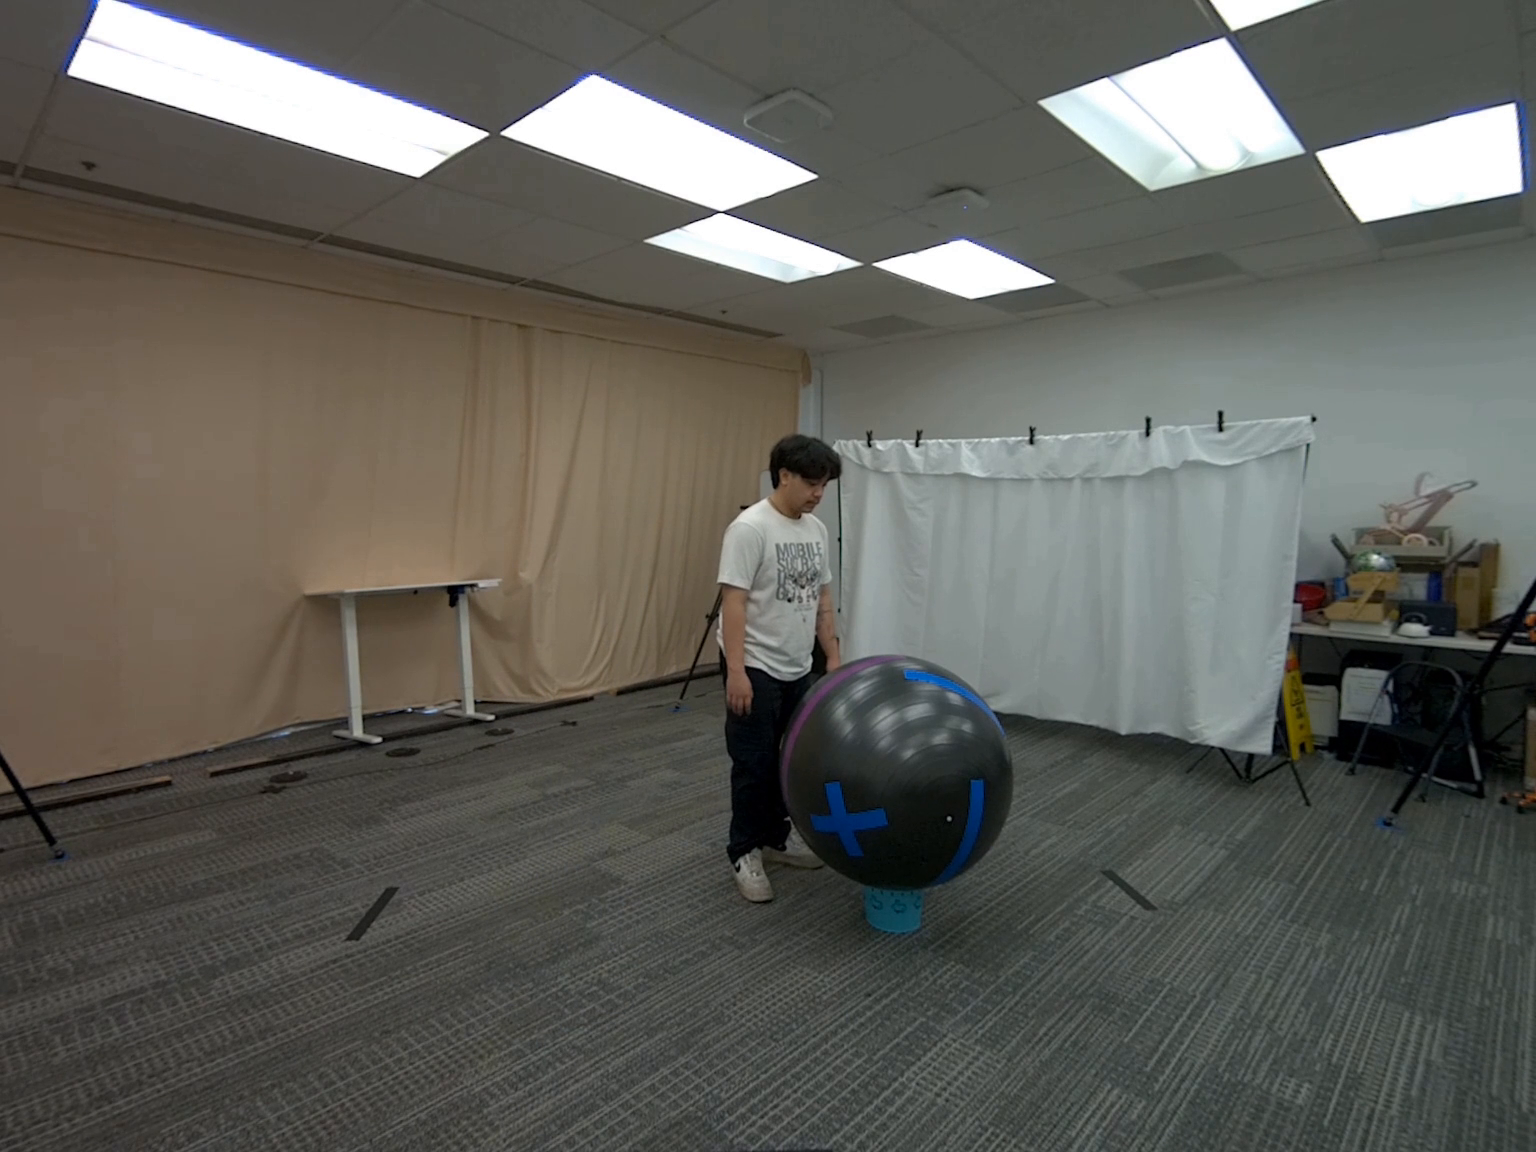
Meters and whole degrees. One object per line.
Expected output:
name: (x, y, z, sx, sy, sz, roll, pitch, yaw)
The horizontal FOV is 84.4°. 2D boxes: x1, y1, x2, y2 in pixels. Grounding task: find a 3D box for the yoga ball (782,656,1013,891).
yoga ball: (0.420, 0.648, 2.812, 0.757, 0.756, 0.760, 0, 4, -2)
